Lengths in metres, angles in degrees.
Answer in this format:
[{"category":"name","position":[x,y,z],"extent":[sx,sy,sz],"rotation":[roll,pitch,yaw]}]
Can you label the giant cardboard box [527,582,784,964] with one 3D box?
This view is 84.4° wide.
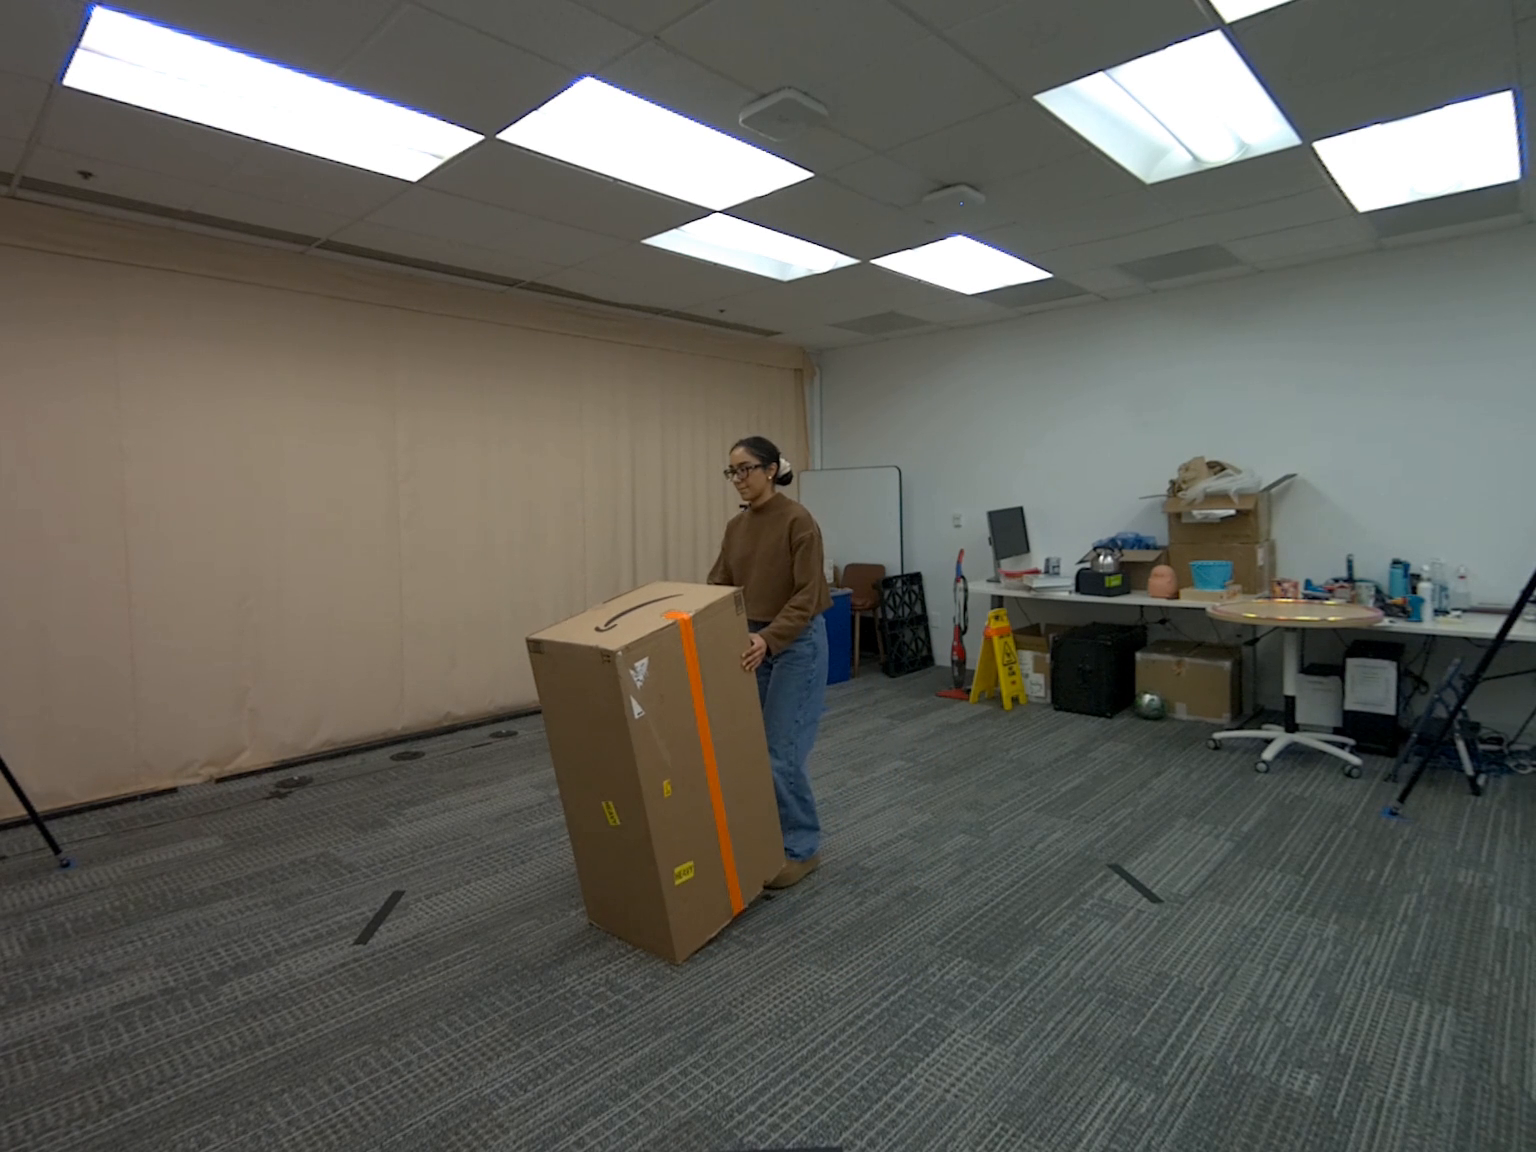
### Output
[{"category":"giant cardboard box","position":[-0.343,0.608,2.780],"extent":[0.440,1.015,0.565],"rotation":[2,17,41]}]
